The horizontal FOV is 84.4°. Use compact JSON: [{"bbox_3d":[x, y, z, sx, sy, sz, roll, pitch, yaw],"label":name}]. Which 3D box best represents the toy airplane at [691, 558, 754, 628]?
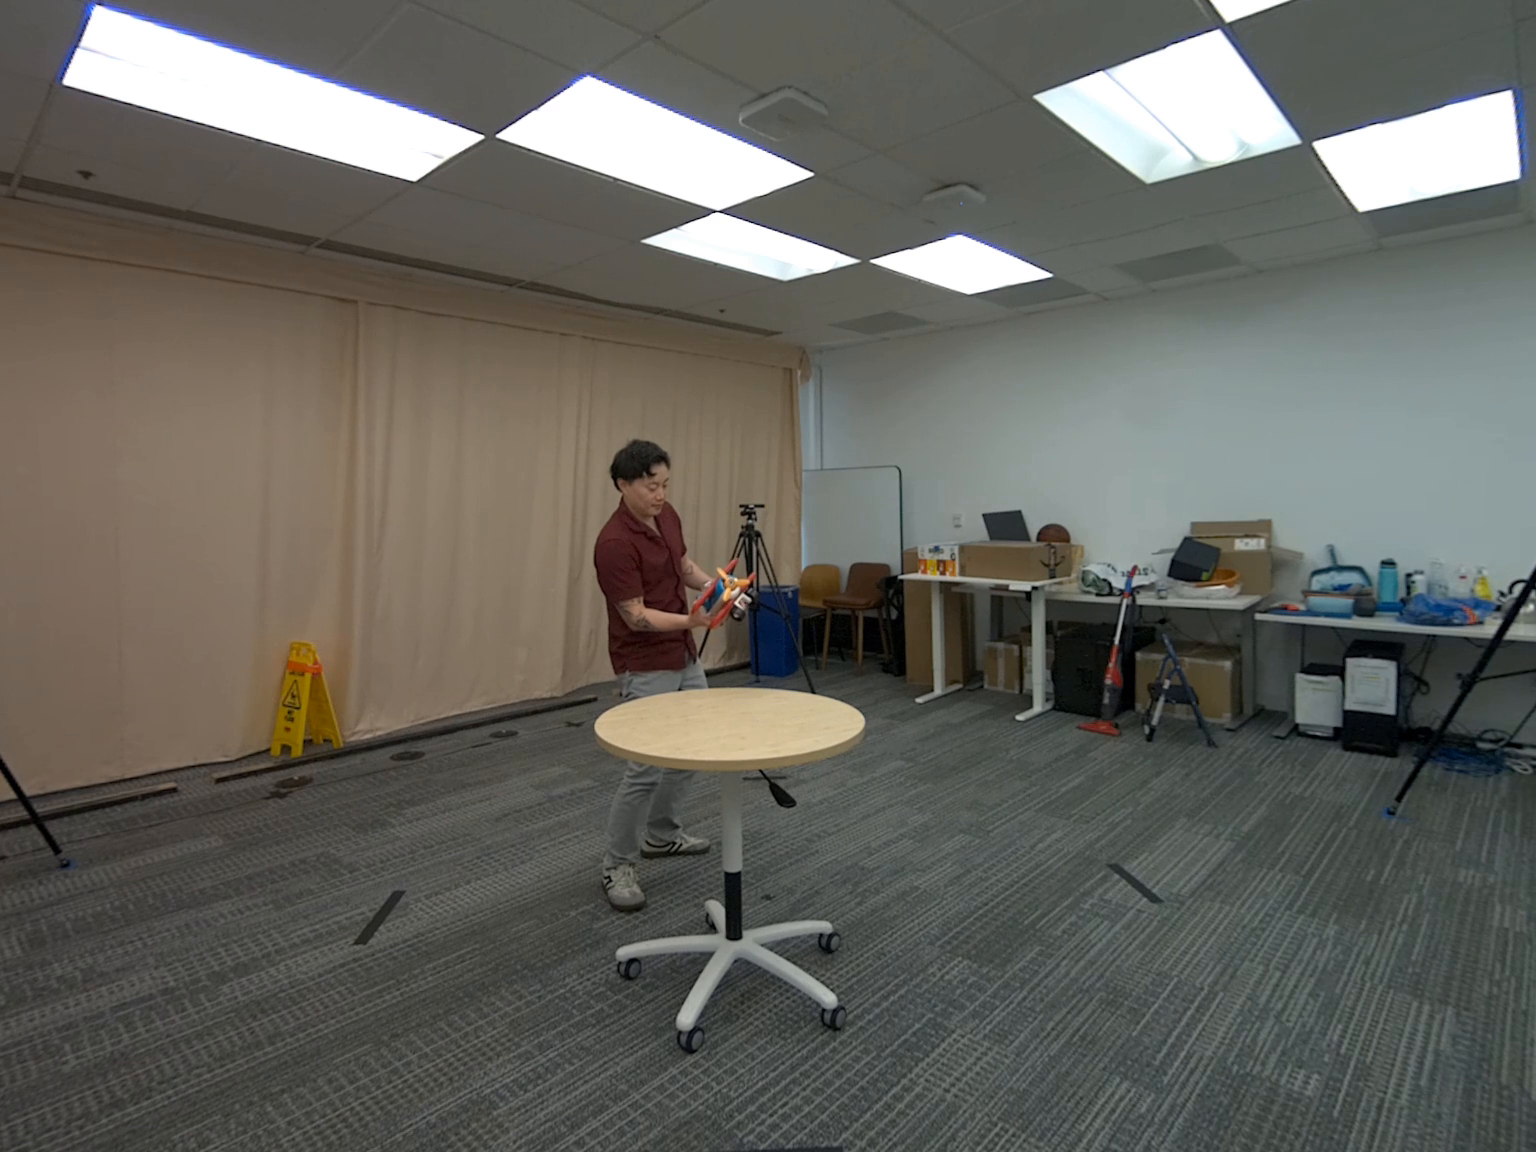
[{"bbox_3d":[-0.158,0.093,2.849,0.263,0.154,0.251,-35,15,30],"label":"toy airplane"}]
